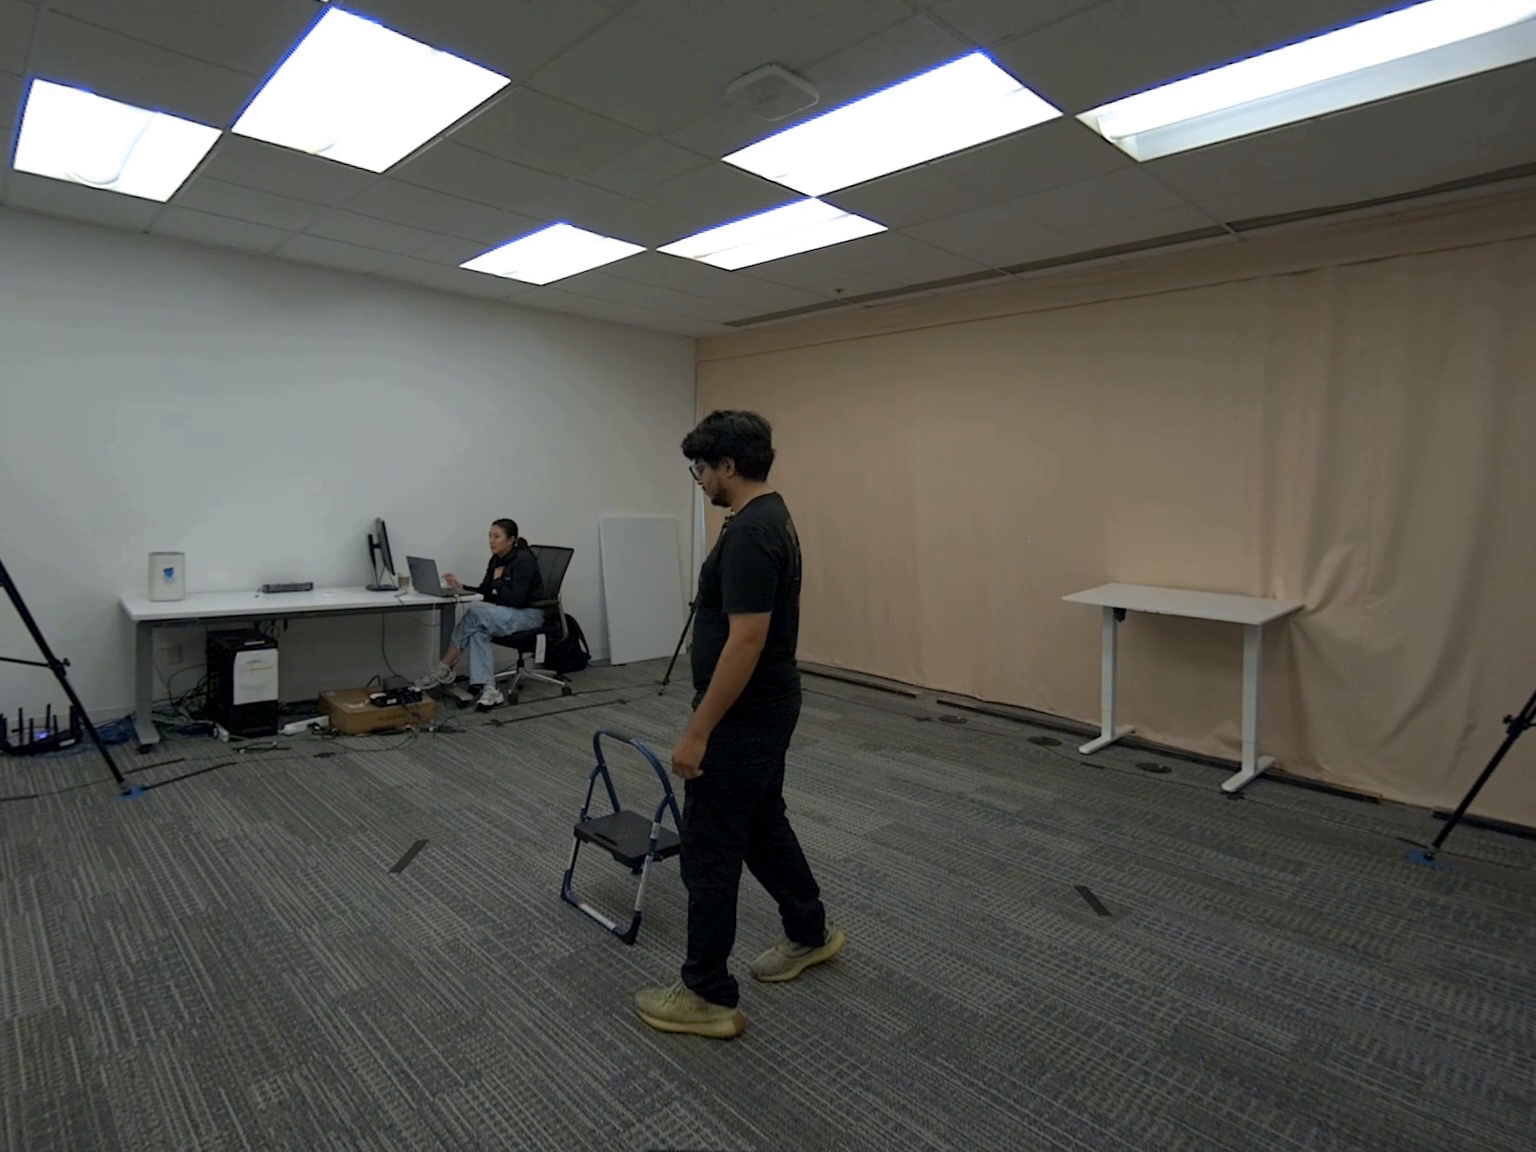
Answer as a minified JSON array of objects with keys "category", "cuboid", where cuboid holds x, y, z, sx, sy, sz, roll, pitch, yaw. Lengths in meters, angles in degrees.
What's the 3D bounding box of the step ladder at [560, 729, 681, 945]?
[{"category":"step ladder","cuboid":[-0.447,0.817,2.843,0.341,0.604,0.442,-2,5,-44]}]
